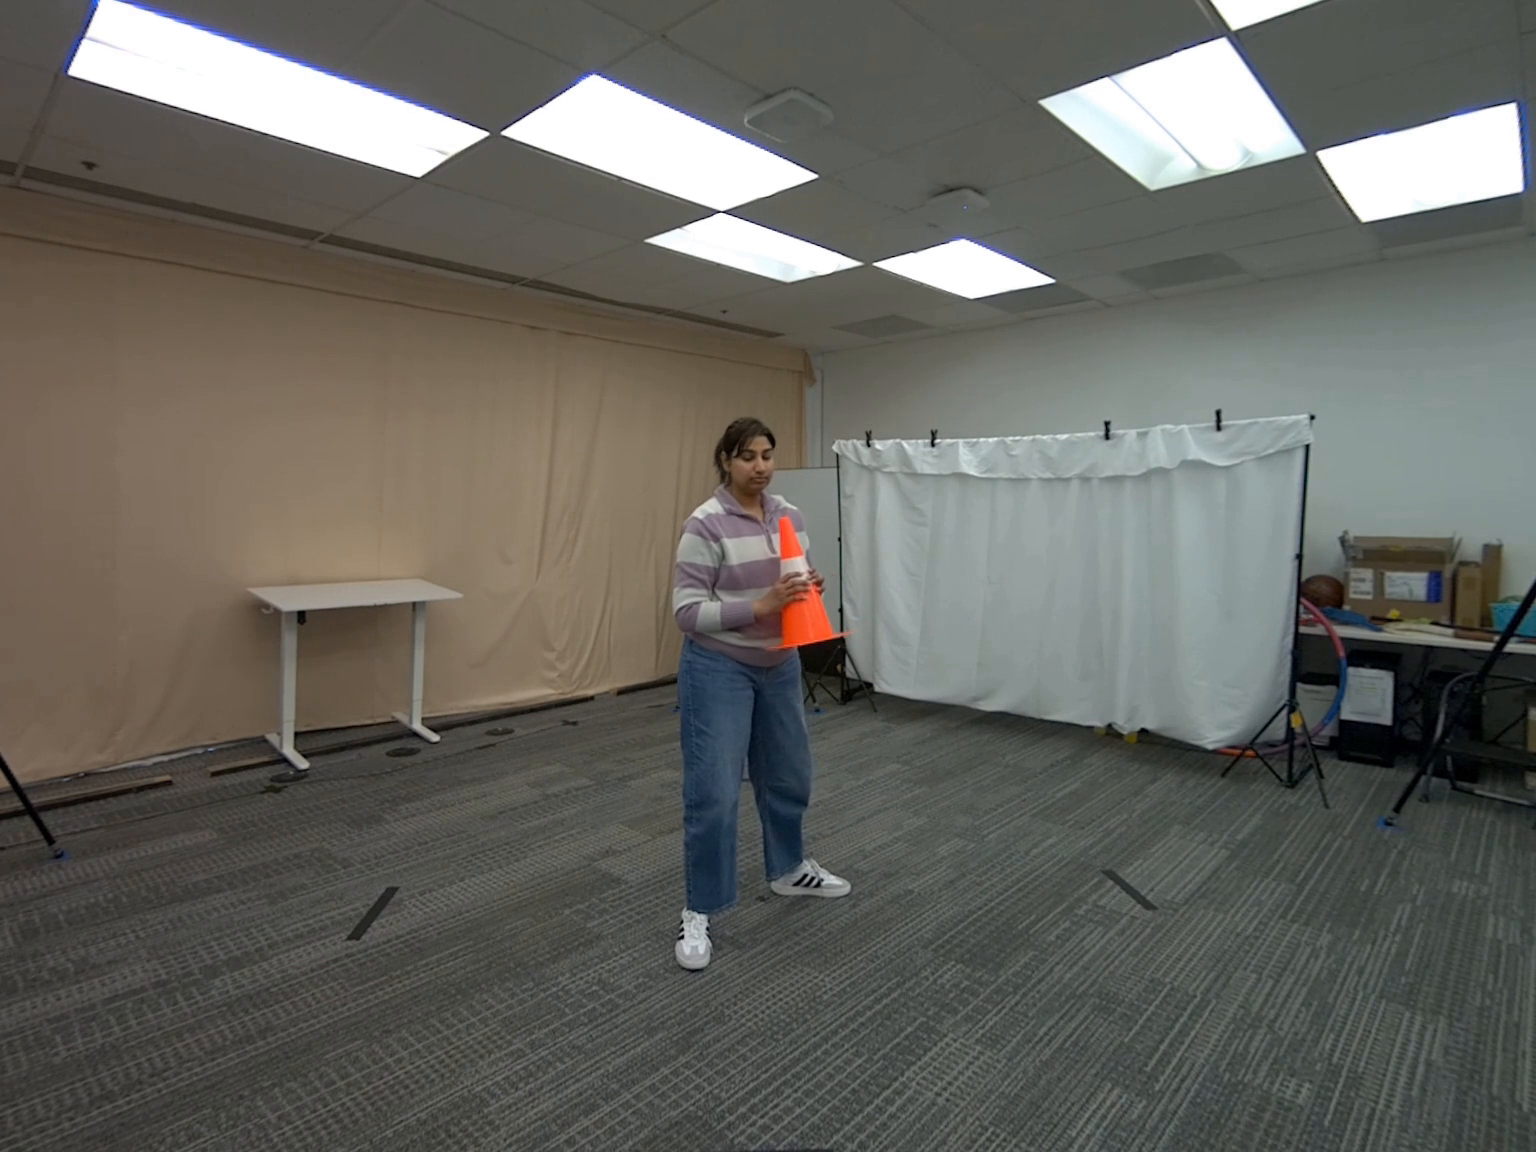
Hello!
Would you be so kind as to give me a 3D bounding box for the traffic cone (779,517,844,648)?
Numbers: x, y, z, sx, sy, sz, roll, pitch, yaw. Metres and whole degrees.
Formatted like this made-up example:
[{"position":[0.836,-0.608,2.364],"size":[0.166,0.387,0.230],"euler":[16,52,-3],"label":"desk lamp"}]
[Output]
[{"position":[0.076,0.010,2.548],"size":[0.200,0.384,0.208],"euler":[-9,-2,-28],"label":"traffic cone"}]
